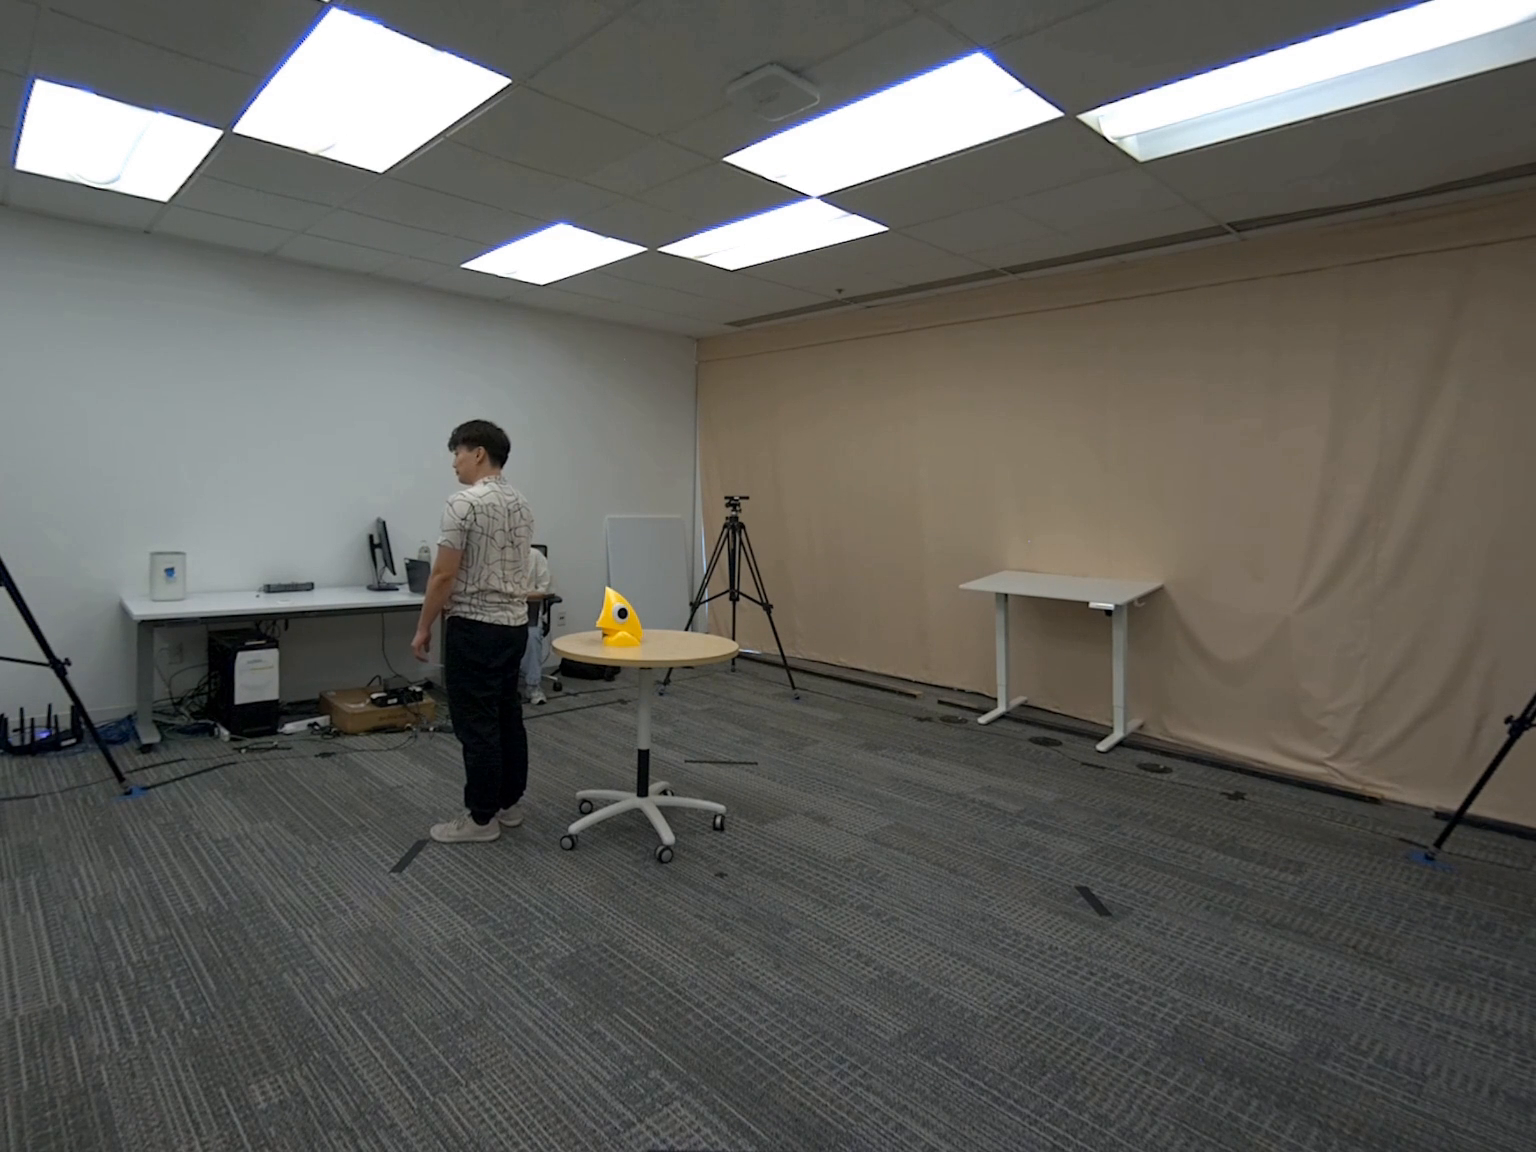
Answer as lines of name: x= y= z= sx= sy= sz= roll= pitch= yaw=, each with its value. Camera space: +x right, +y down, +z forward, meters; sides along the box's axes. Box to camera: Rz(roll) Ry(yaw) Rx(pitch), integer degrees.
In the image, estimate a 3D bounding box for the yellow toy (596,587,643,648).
yellow toy: x=-0.623 y=0.160 z=3.480 sx=0.192 sy=0.230 sz=0.206 roll=1 pitch=4 yaw=-7
